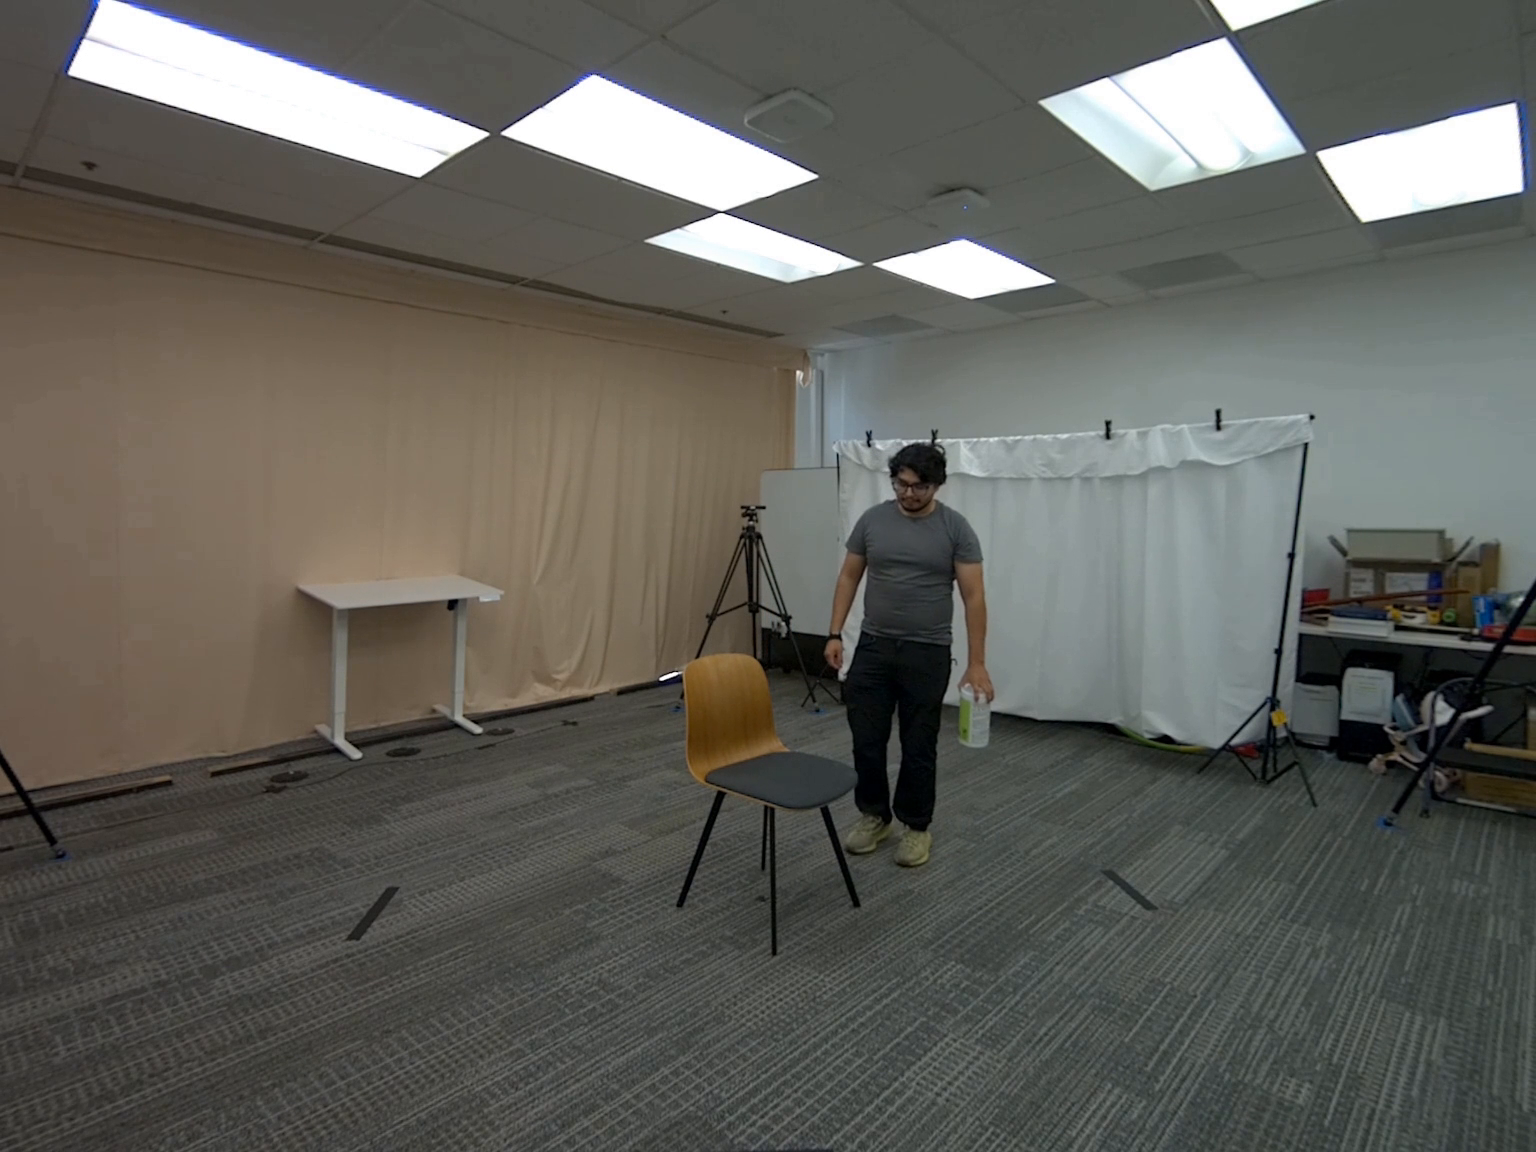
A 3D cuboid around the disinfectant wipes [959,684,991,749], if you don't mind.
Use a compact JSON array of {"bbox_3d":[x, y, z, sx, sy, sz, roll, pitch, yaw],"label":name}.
[{"bbox_3d":[0.769,0.520,3.149,0.118,0.215,0.119,0,15,-2],"label":"disinfectant wipes"}]
